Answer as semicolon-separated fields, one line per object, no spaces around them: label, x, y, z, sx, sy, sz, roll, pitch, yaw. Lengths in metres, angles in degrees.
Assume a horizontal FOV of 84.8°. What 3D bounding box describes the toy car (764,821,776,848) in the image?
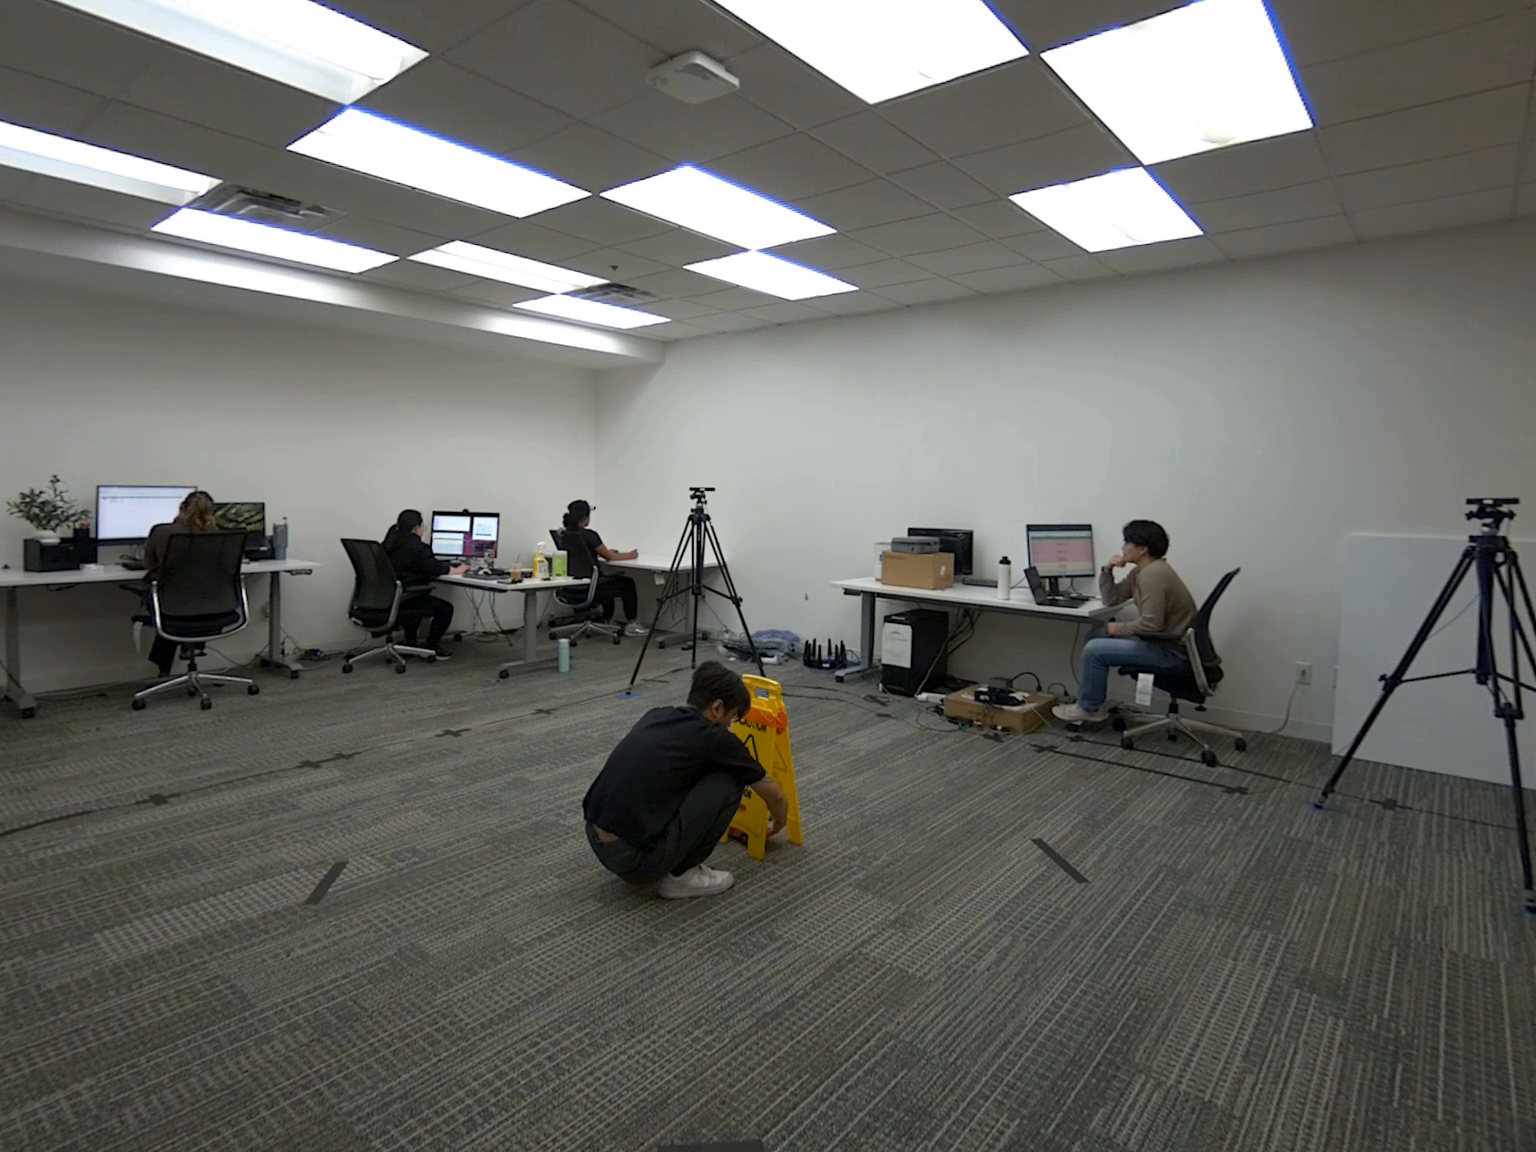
toy car;-0.088;1.008;3.401;0.262;0.083;0.126;-6;-1;43
